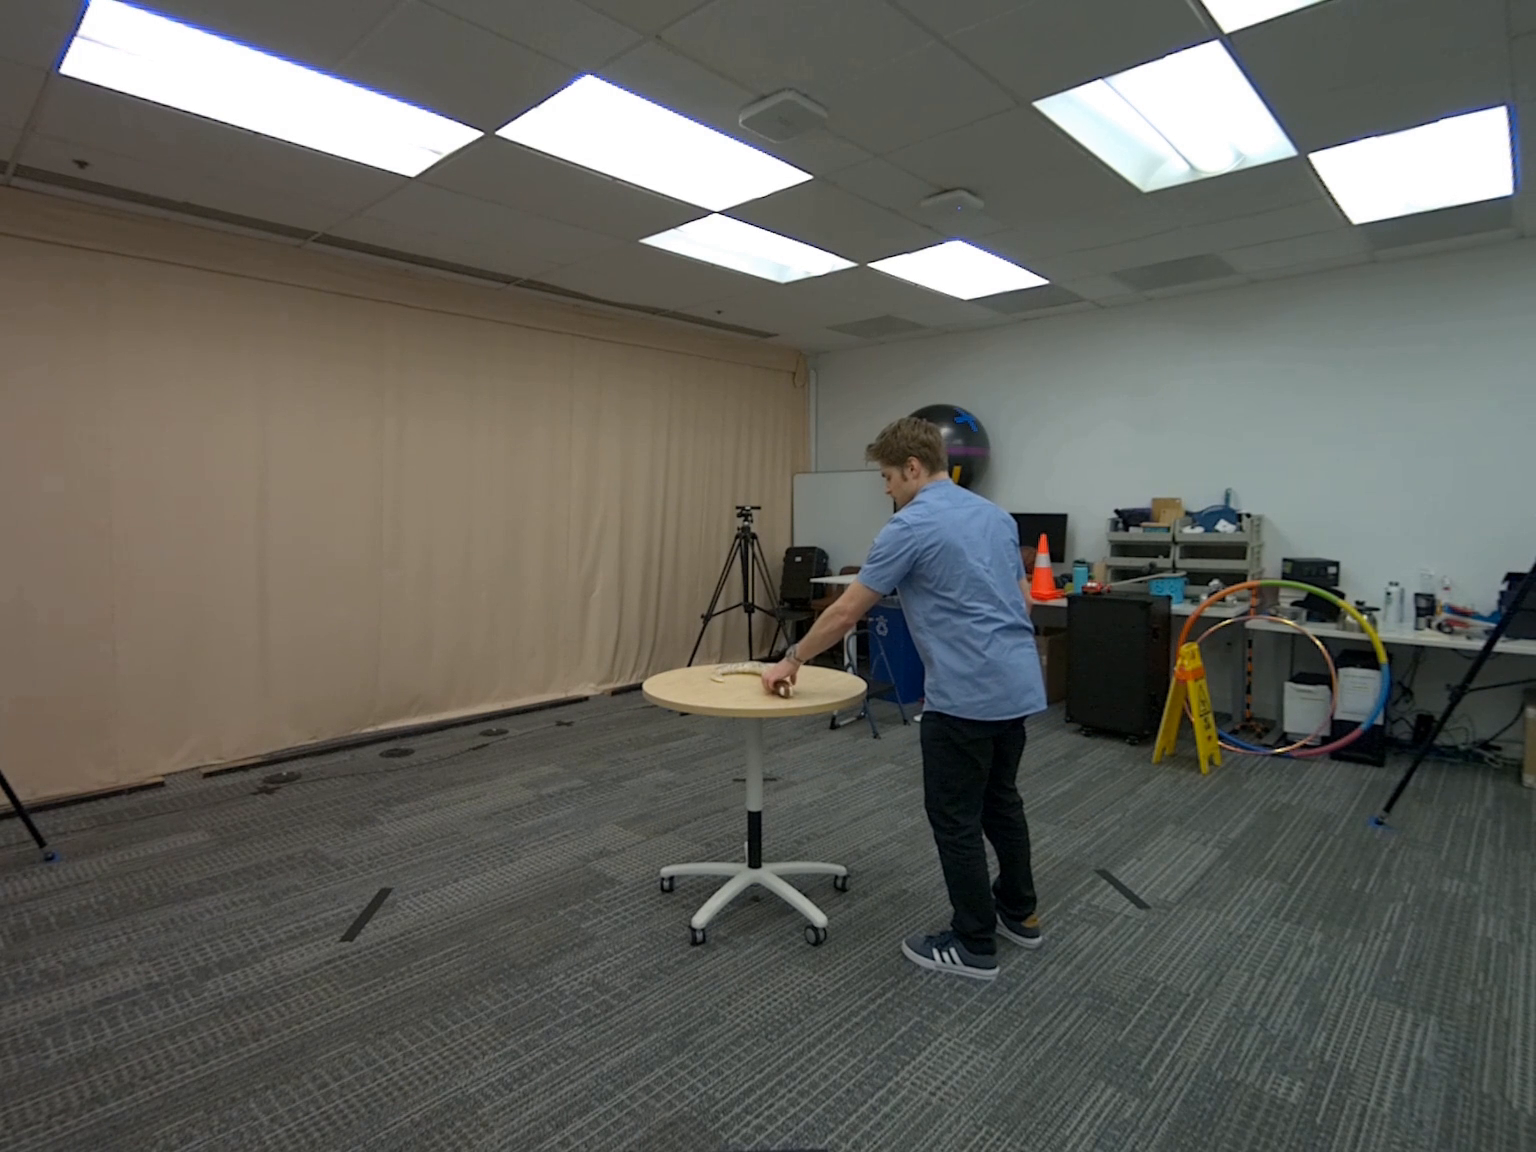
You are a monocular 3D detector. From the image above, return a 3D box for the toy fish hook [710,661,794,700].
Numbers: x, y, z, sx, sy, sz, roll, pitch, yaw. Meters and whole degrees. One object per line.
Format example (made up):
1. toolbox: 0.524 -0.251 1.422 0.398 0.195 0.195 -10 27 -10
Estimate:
1. toy fish hook: -0.059 0.357 2.868 0.222 0.048 0.514 -8 4 -13
